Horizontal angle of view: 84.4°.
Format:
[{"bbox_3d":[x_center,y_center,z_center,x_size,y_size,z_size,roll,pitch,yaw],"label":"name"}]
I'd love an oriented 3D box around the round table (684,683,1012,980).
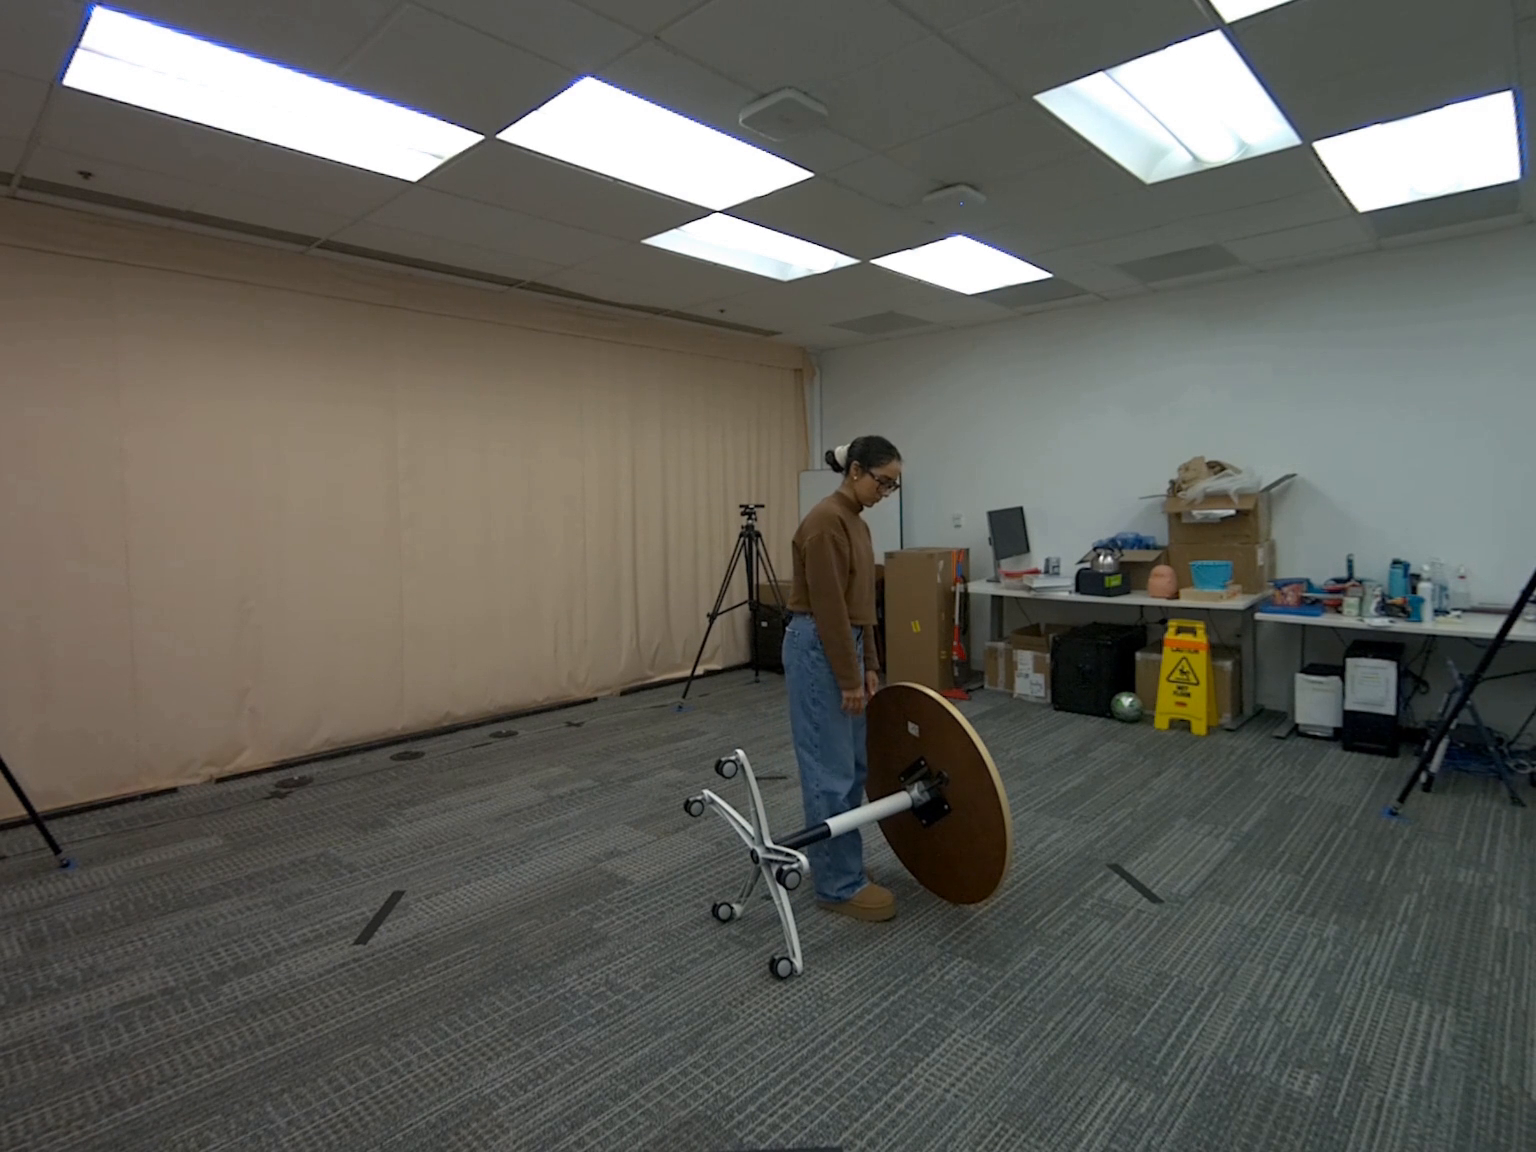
[{"bbox_3d":[0.234,0.820,2.772,0.776,0.760,0.785,-12,8,-27],"label":"round table"}]
